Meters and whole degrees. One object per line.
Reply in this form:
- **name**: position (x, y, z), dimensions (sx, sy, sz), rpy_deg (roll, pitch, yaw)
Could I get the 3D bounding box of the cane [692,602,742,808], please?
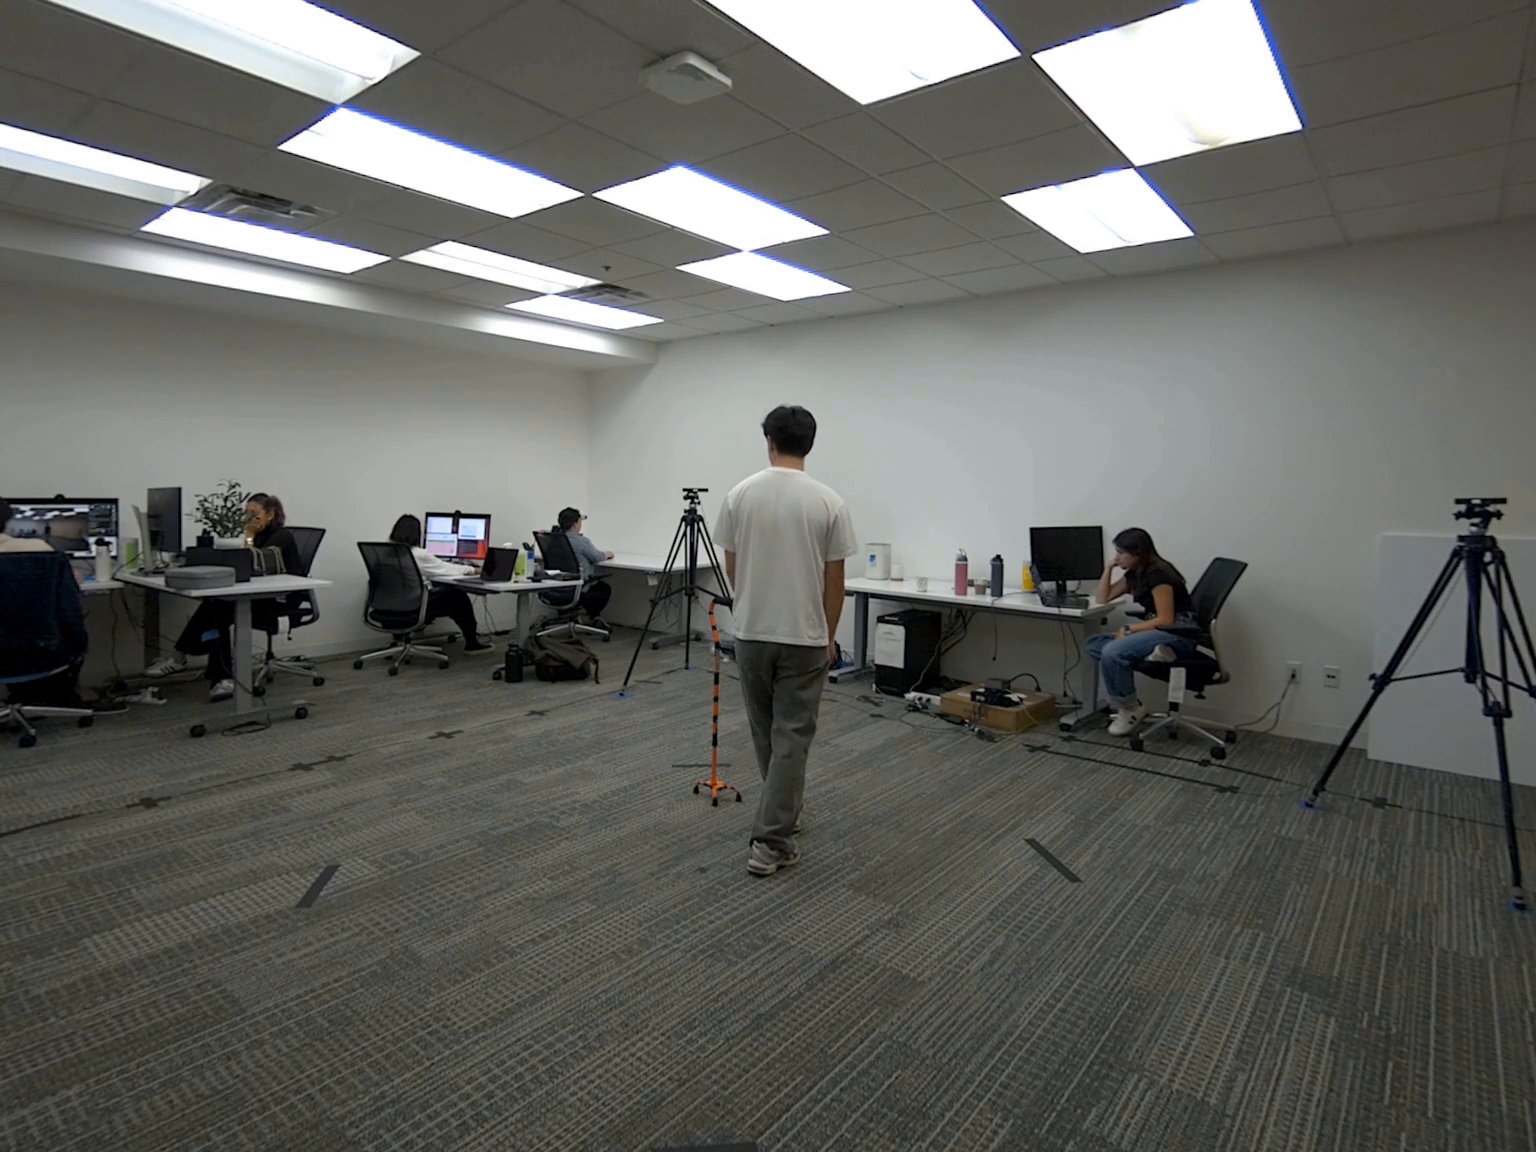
- **cane**: position (-0.218, 0.542, 3.835), dimensions (0.147, 0.905, 0.213), rpy_deg (-1, 3, -32)
